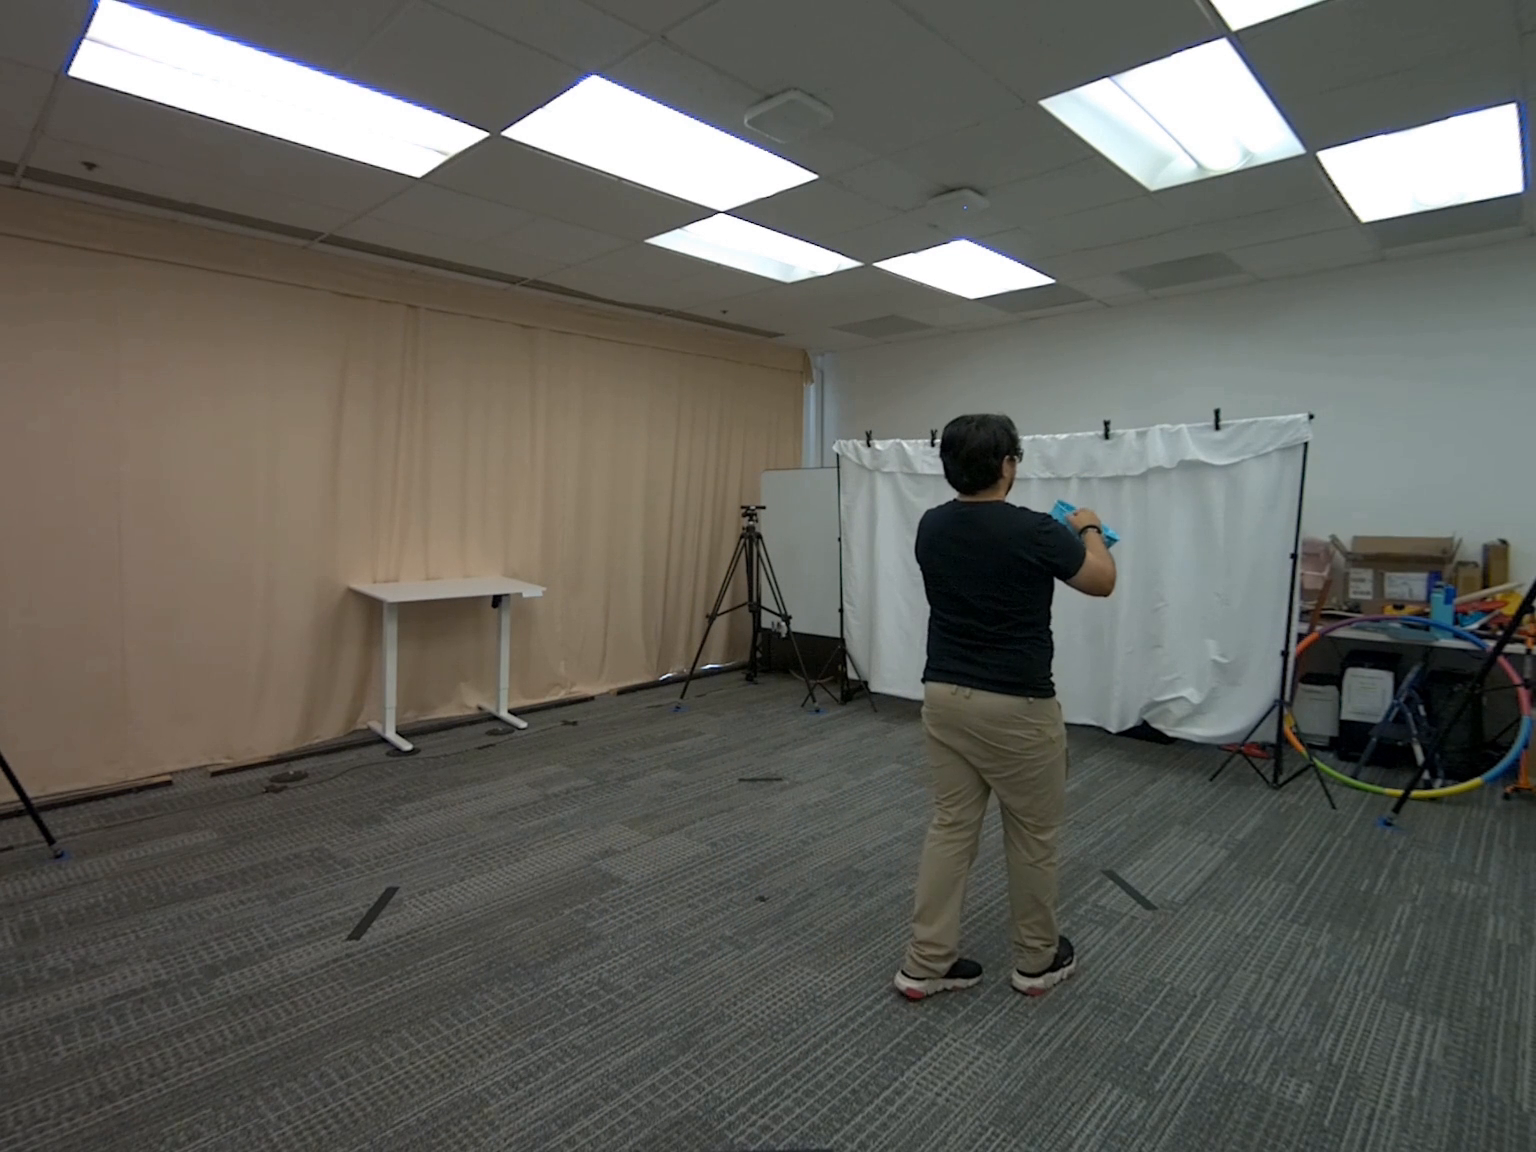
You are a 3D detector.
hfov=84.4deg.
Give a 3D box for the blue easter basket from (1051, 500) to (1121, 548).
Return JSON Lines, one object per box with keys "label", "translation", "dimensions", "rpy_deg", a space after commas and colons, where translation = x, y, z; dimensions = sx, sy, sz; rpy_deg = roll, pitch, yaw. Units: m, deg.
{"label": "blue easter basket", "translation": [1.010, -0.125, 2.726], "dimensions": [0.240, 0.156, 0.247], "rpy_deg": [25, 20, -12]}
